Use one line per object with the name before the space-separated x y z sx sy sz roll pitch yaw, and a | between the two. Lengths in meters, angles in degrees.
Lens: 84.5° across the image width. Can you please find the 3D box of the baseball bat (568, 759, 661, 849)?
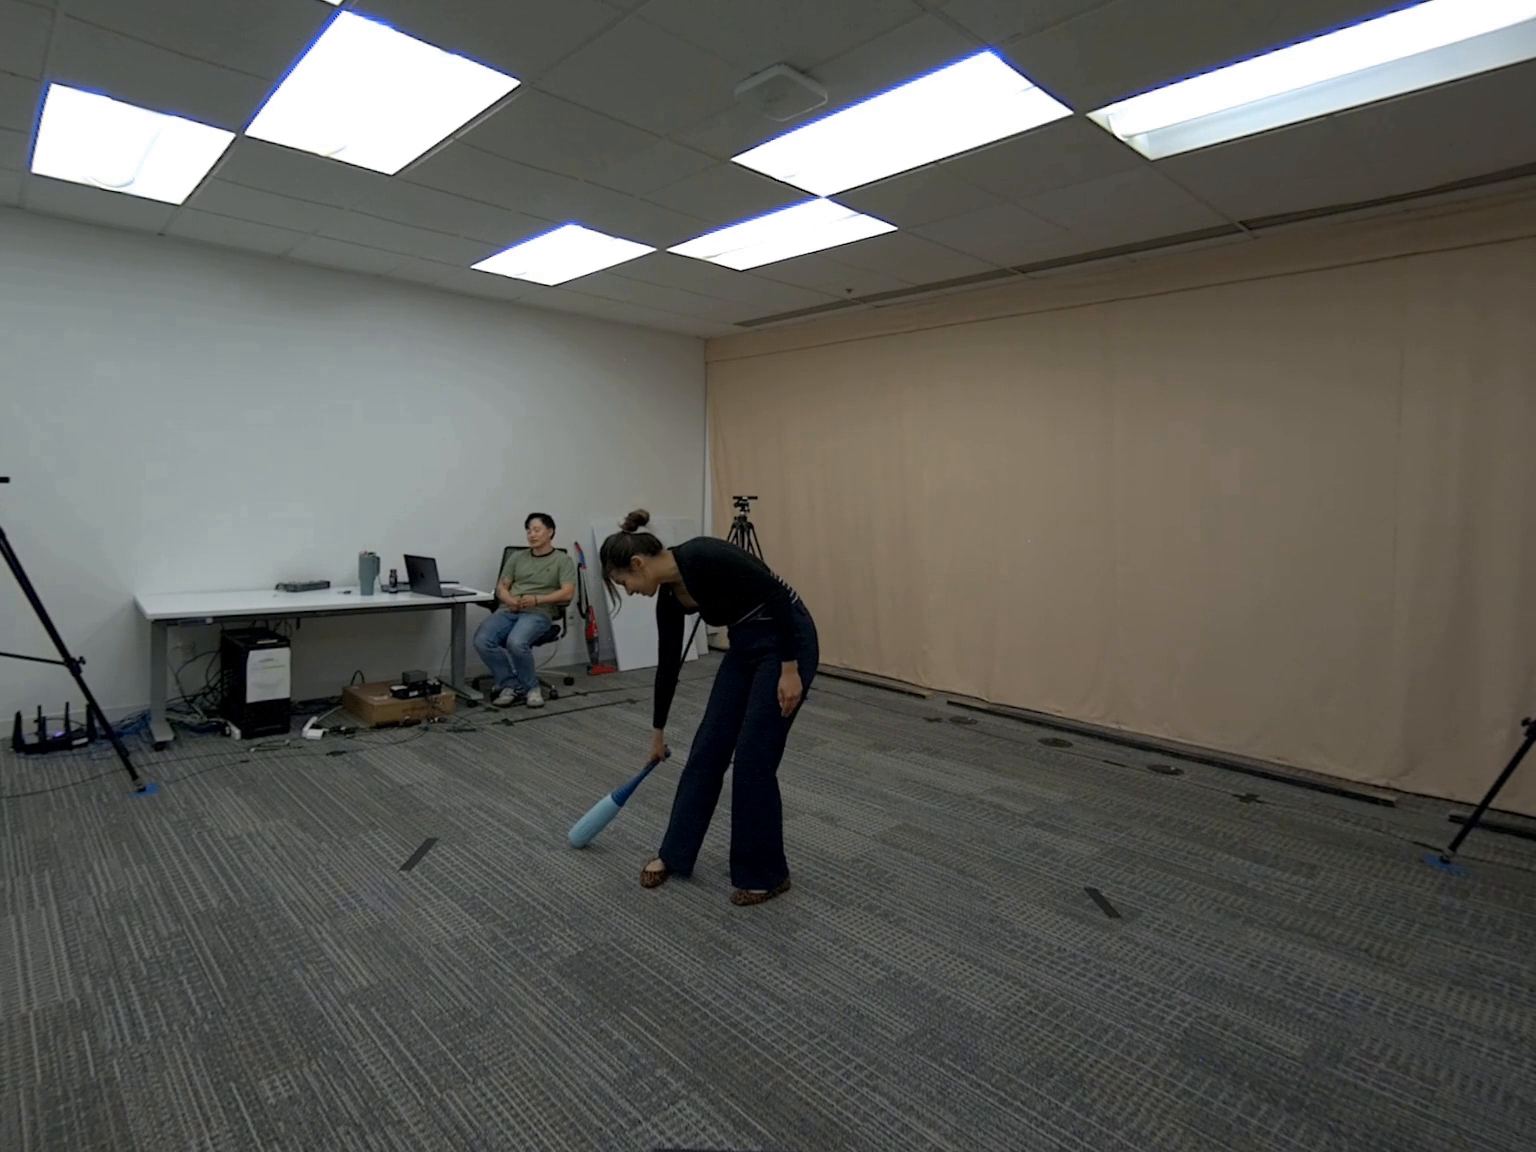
baseball bat | -0.581 0.863 3.273 0.088 0.543 0.090 43 10 -11
